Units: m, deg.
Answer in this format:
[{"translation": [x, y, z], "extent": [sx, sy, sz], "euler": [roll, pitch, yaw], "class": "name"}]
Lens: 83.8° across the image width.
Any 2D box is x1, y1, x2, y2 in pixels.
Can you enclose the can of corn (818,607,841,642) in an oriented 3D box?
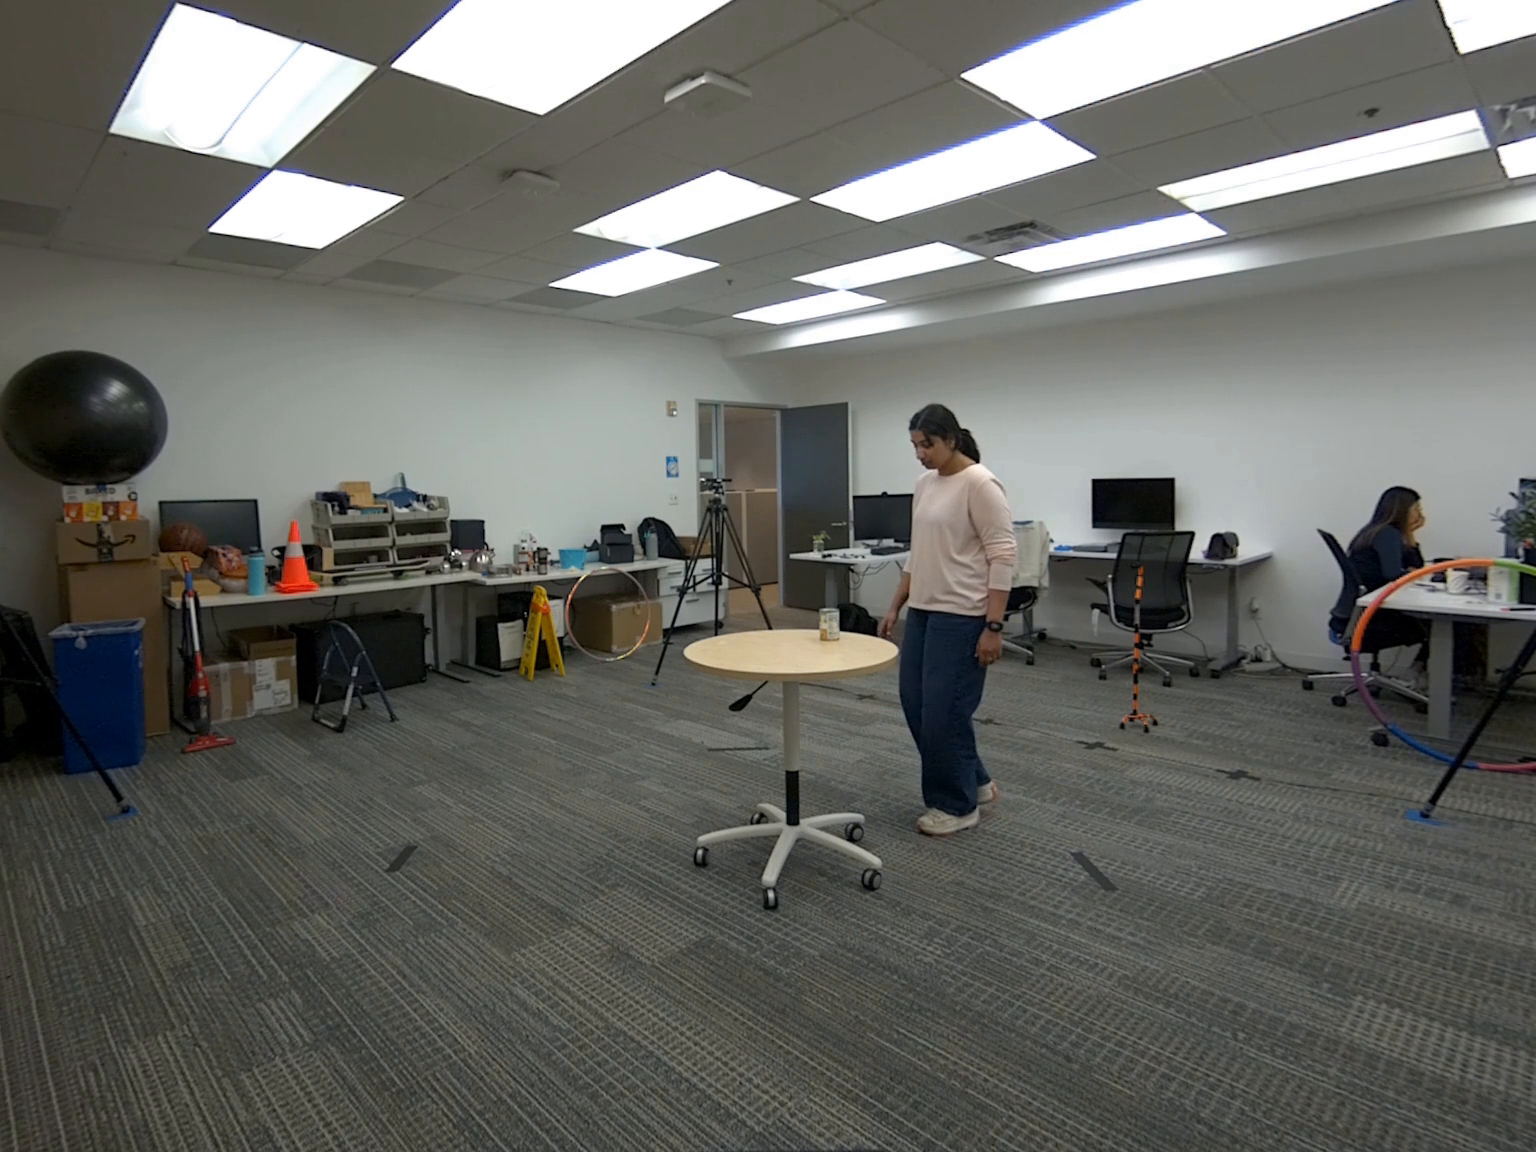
[{"translation": [0.234, 0.185, 3.226], "extent": [0.074, 0.110, 0.074], "euler": [-2, 5, -2], "class": "can of corn"}]
